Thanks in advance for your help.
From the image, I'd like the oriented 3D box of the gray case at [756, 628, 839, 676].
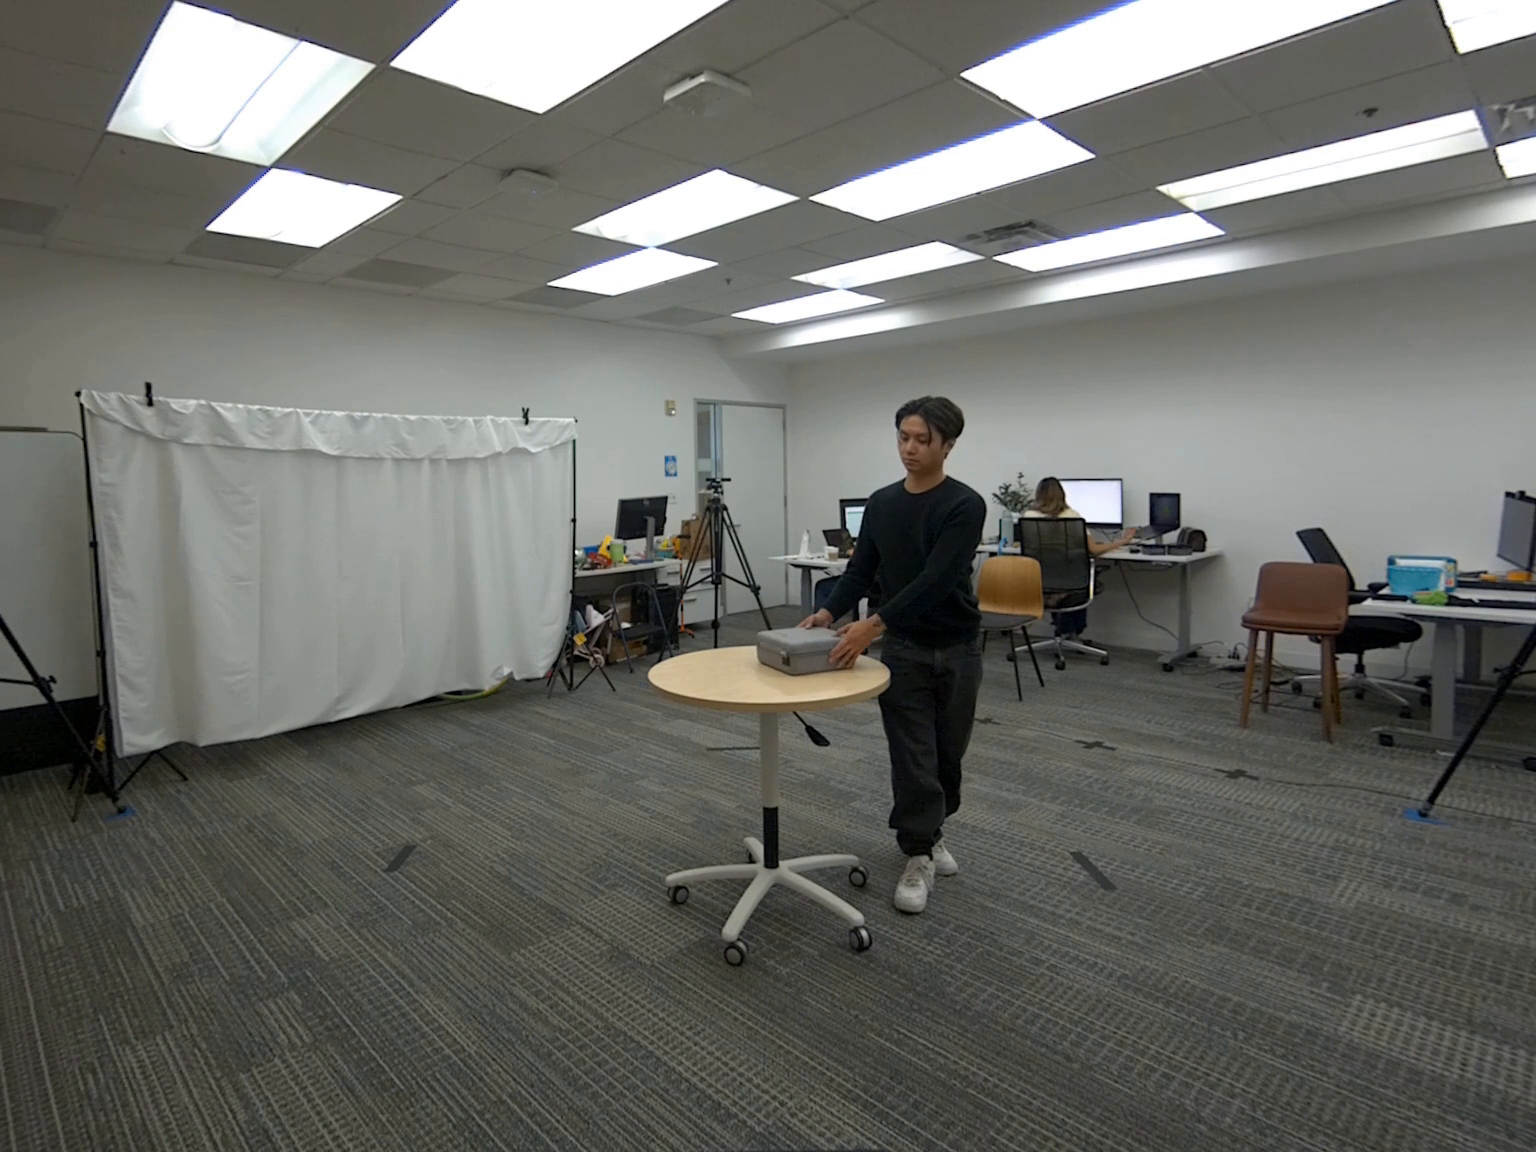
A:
[{"bbox_3d":[0.126,0.241,2.781,0.255,0.104,0.263,-5,6,-25],"label":"gray case"}]
